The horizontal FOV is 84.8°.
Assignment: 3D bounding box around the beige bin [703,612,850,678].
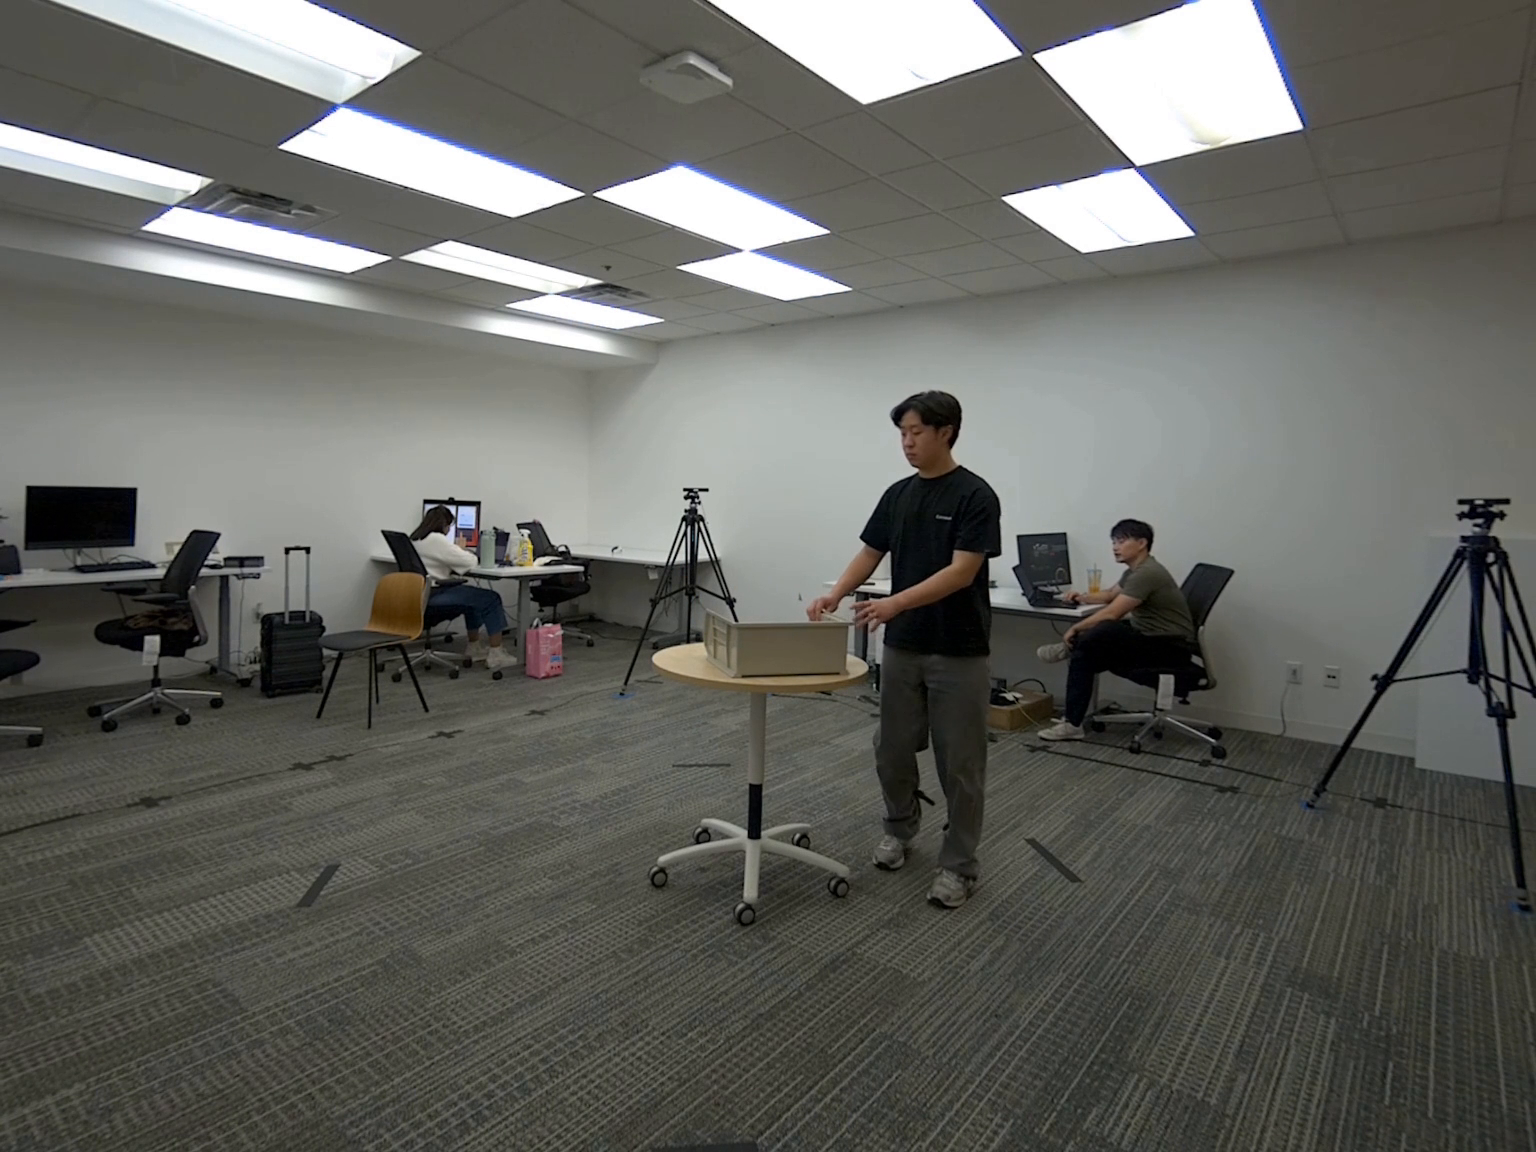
[{"bbox_3d":[0.009,0.219,2.944,0.415,0.188,0.386,1,6,-17],"label":"beige bin"}]
